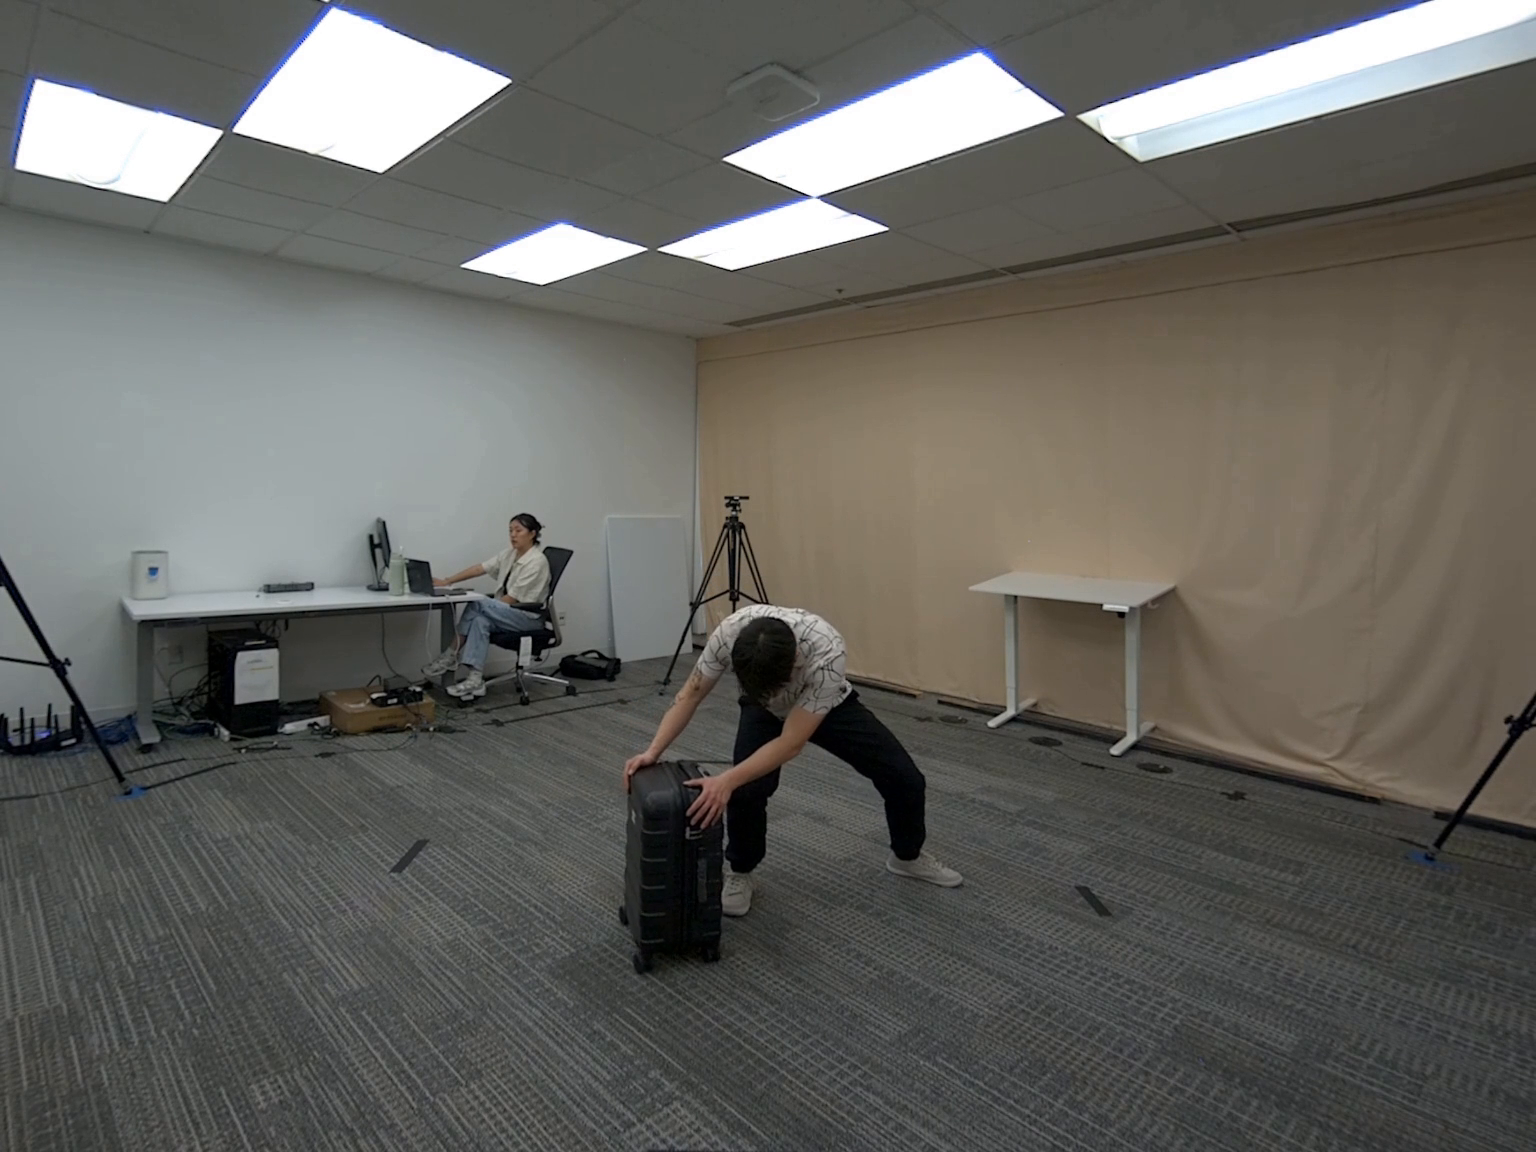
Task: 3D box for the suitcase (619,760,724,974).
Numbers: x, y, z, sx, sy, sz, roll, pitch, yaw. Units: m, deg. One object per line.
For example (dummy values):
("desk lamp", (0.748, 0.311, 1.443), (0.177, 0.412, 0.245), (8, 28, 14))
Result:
("suitcase", (-0.292, 0.870, 2.595), (0.245, 0.547, 0.382), (1, 5, -18))
